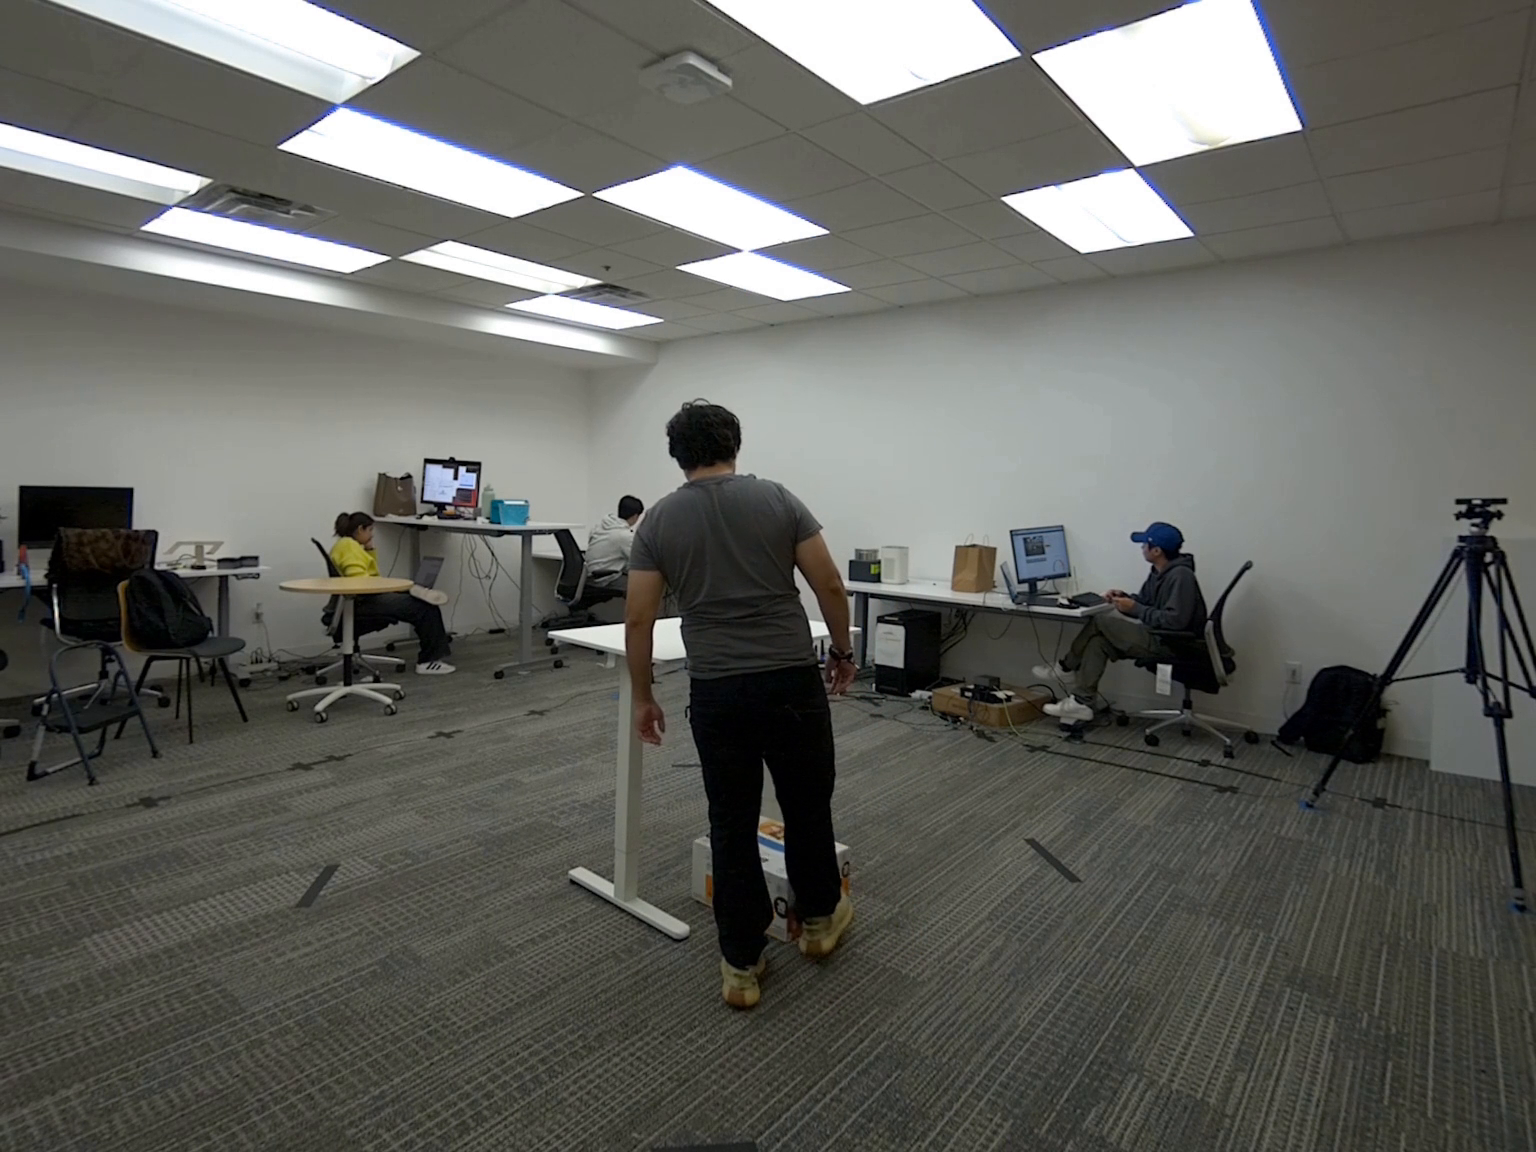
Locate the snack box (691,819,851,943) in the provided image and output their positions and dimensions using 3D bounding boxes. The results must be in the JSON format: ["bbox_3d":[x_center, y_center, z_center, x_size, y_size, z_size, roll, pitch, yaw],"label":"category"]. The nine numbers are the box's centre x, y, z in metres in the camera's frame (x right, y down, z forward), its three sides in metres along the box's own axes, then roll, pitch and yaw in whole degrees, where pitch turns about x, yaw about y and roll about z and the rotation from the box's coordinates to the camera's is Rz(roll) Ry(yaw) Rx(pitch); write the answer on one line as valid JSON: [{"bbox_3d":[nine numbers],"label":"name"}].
[{"bbox_3d":[0.003,0.995,2.853,0.419,0.205,0.330,5,6,41],"label":"snack box"}]
